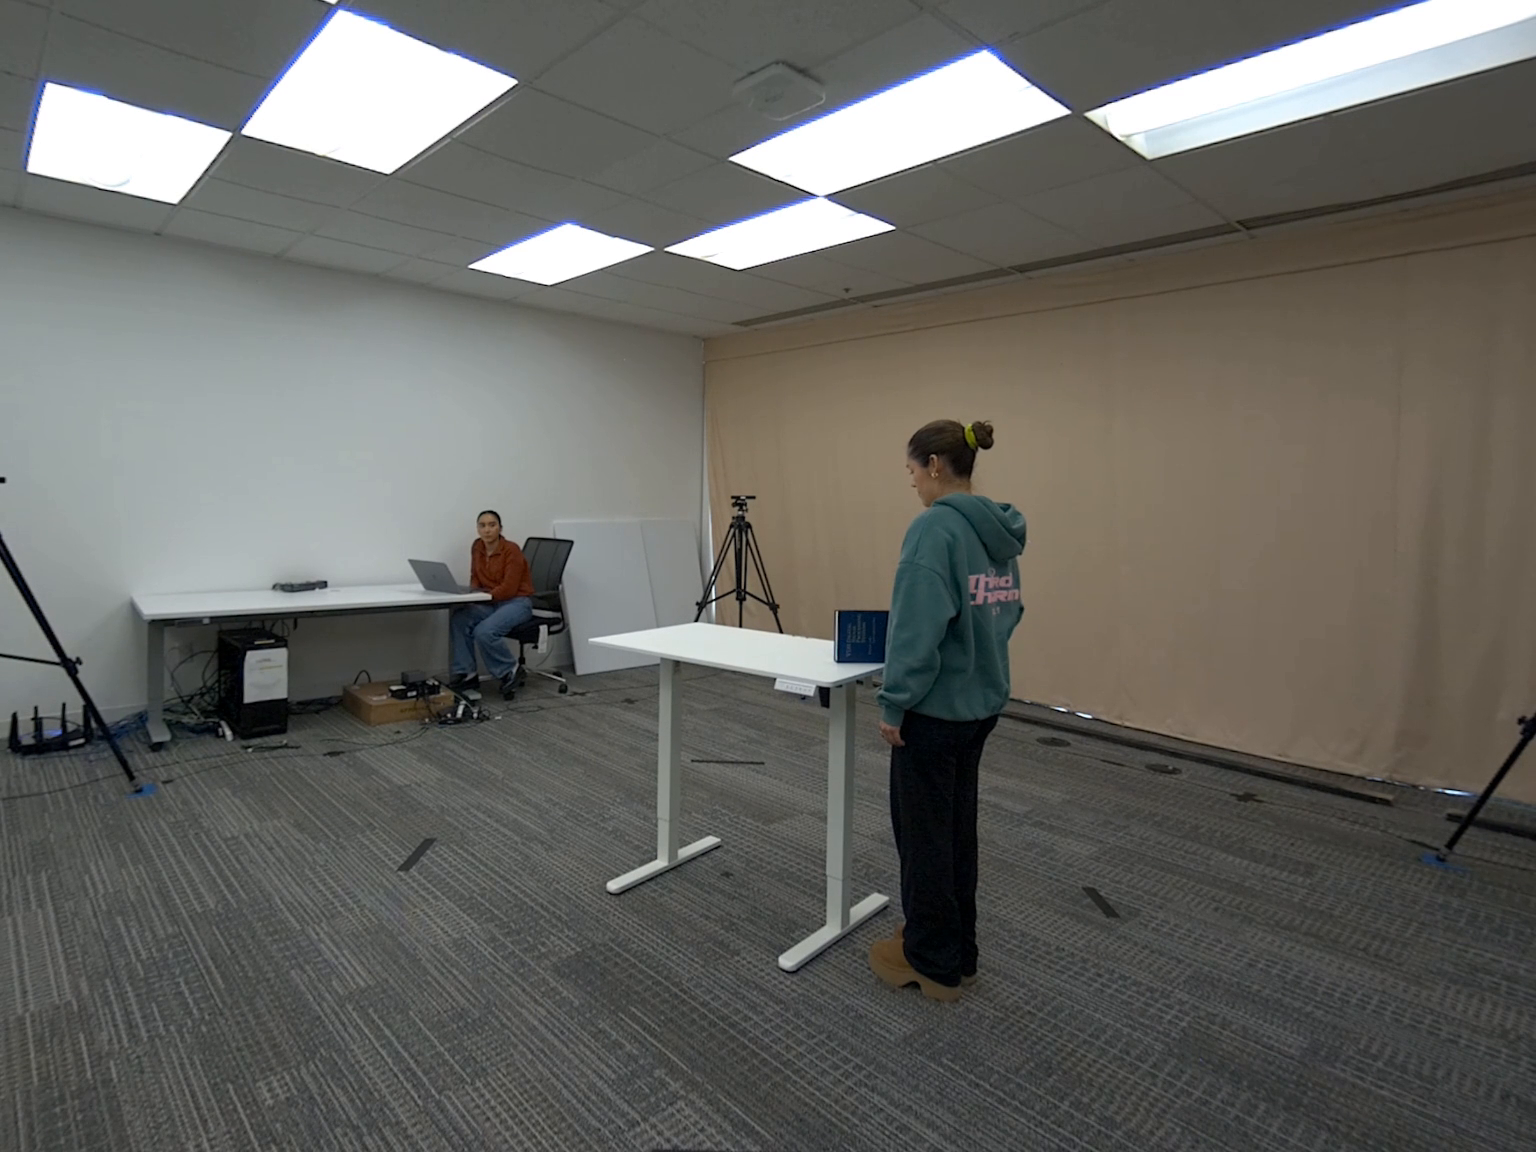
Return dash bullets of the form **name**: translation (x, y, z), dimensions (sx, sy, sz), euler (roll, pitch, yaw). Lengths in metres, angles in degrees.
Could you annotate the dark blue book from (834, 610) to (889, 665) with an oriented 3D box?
- **dark blue book**: translation (0.322, 0.189, 2.639), dimensions (0.245, 0.163, 0.045), euler (2, 0, 0)
